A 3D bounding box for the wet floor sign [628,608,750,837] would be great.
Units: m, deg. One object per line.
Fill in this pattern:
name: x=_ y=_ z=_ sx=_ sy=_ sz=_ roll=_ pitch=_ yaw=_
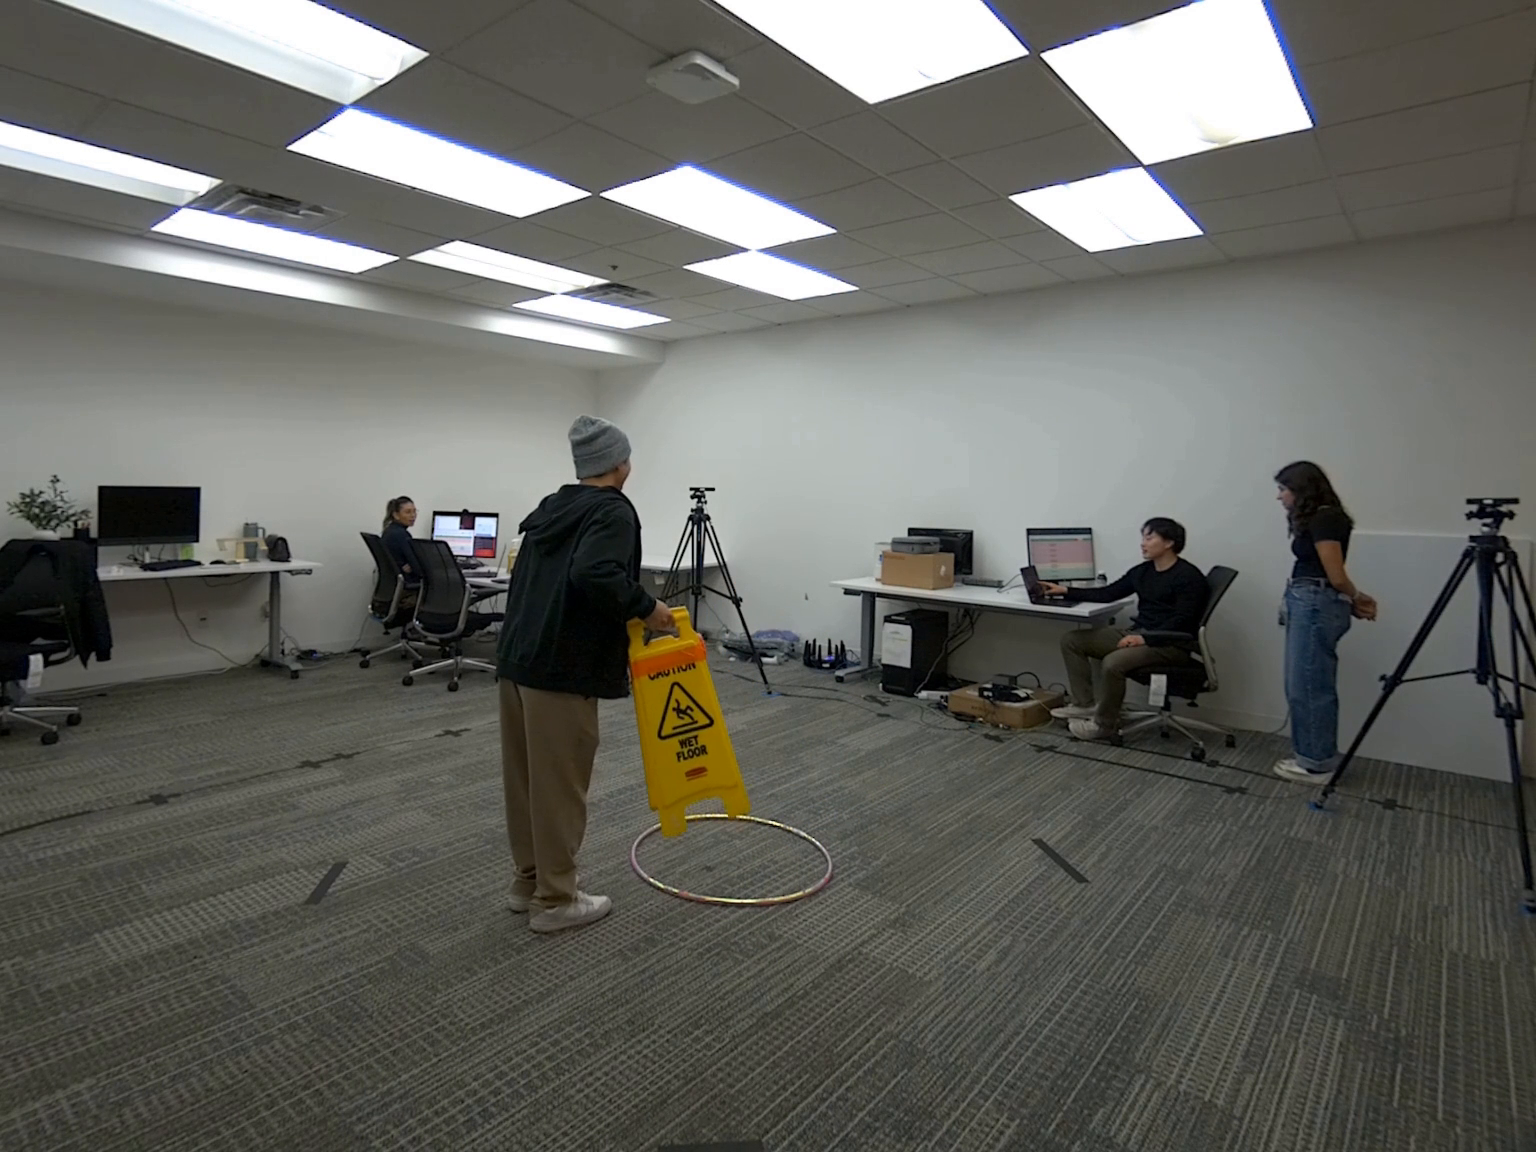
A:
wet floor sign: x=-0.298 y=0.437 z=2.668 sx=0.279 sy=0.643 sz=0.295 roll=-9 pitch=5 yaw=-14
